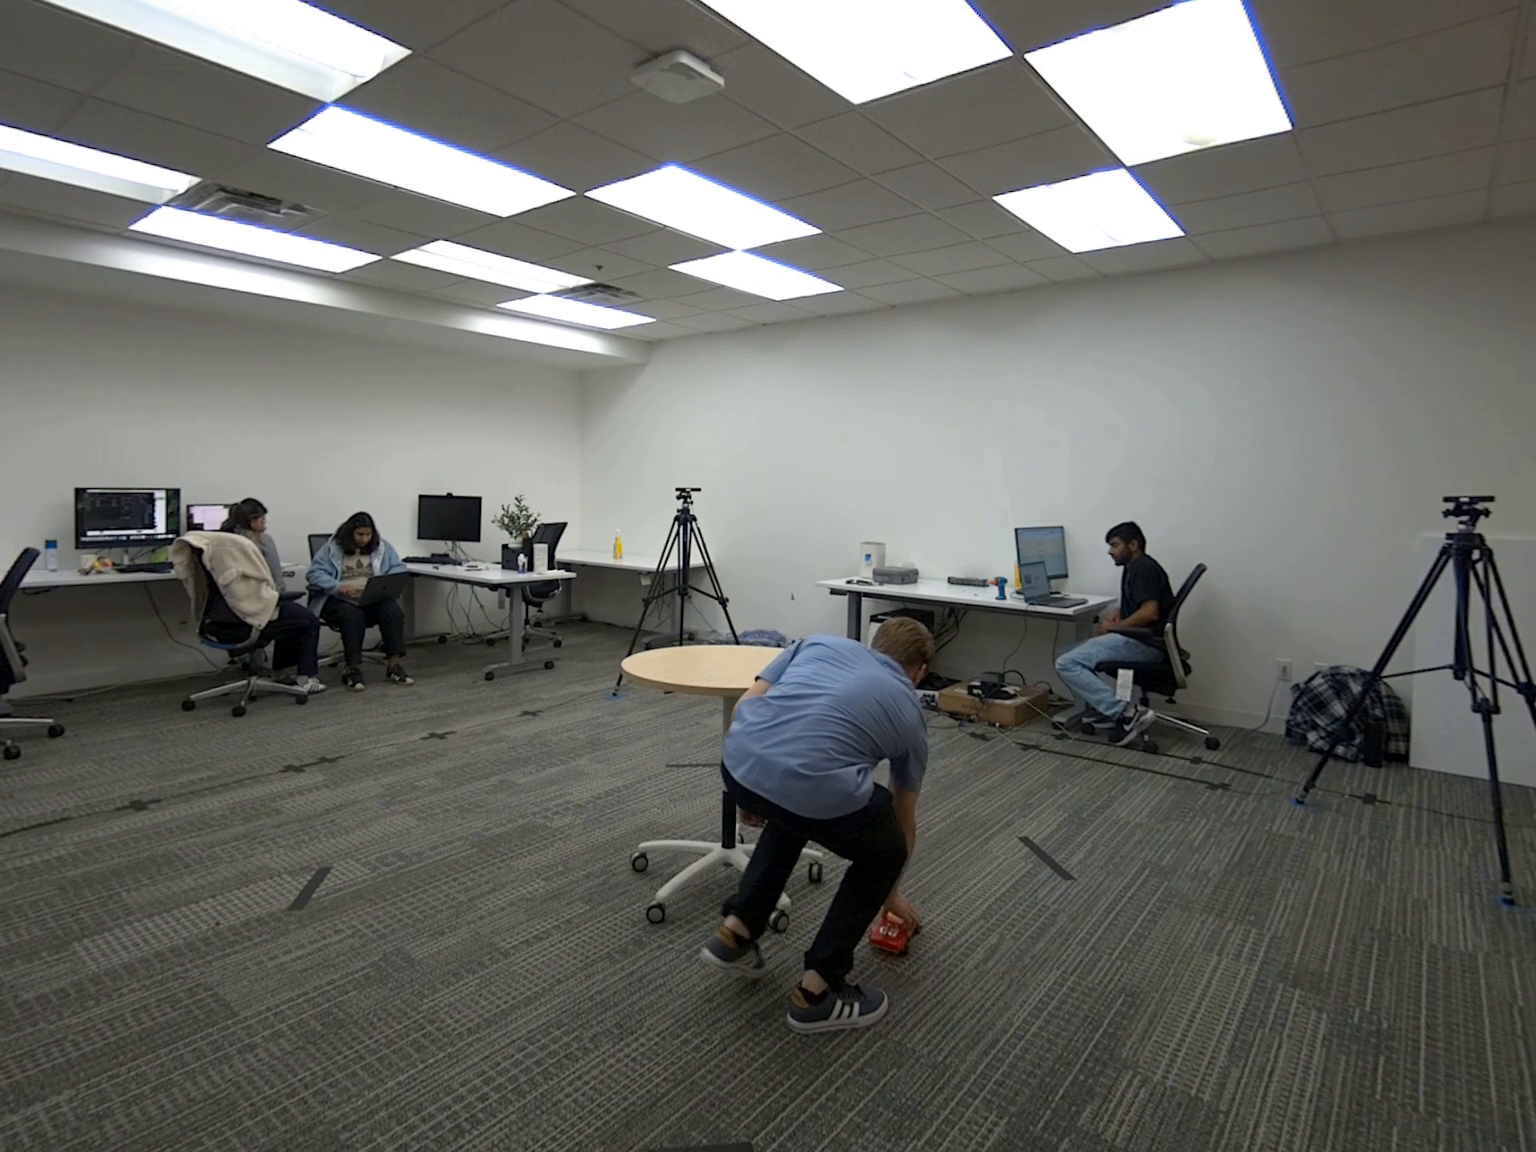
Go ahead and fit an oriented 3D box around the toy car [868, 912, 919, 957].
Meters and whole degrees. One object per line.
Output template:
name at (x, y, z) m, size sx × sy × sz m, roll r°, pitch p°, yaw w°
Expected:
toy car at (0.384, 1.099, 2.638) m, size 0.134 × 0.083 × 0.246 m, roll 5°, pitch -5°, yaw 25°
